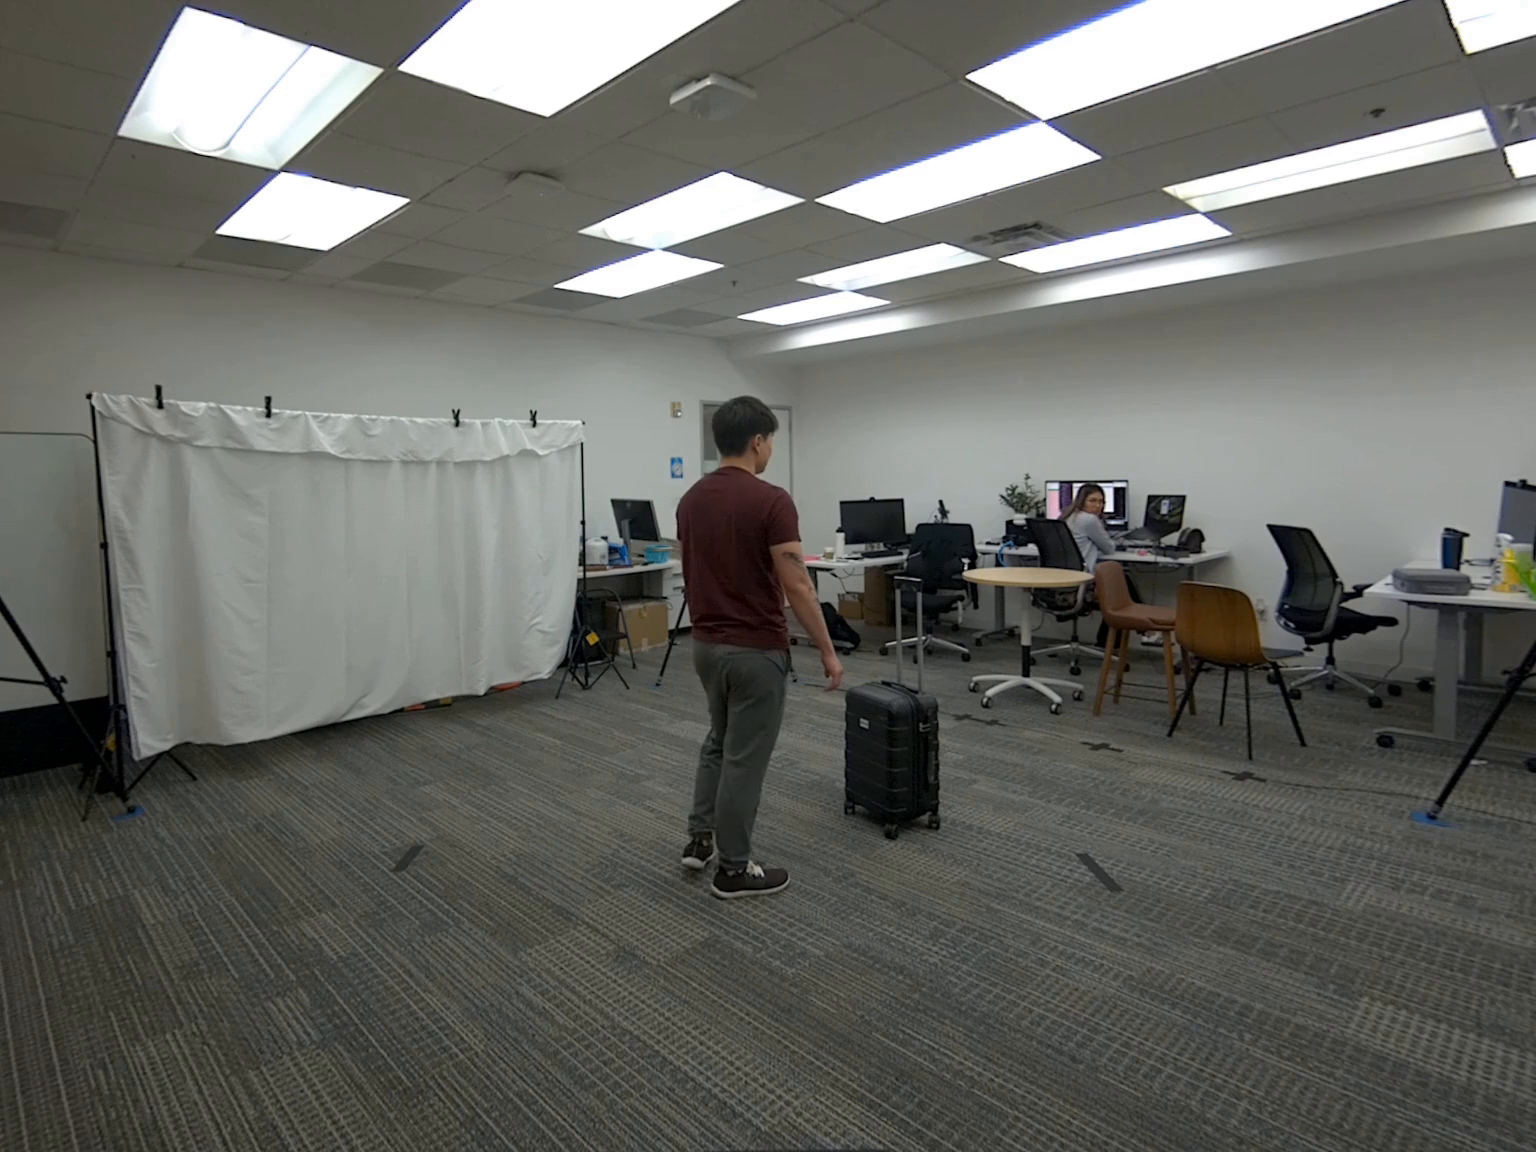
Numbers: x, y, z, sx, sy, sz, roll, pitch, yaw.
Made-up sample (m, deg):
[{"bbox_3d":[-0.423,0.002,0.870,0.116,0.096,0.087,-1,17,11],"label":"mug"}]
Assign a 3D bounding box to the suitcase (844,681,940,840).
[{"bbox_3d":[0.494,0.512,3.477,0.251,0.977,0.393,-3,2,-26],"label":"suitcase"}]
